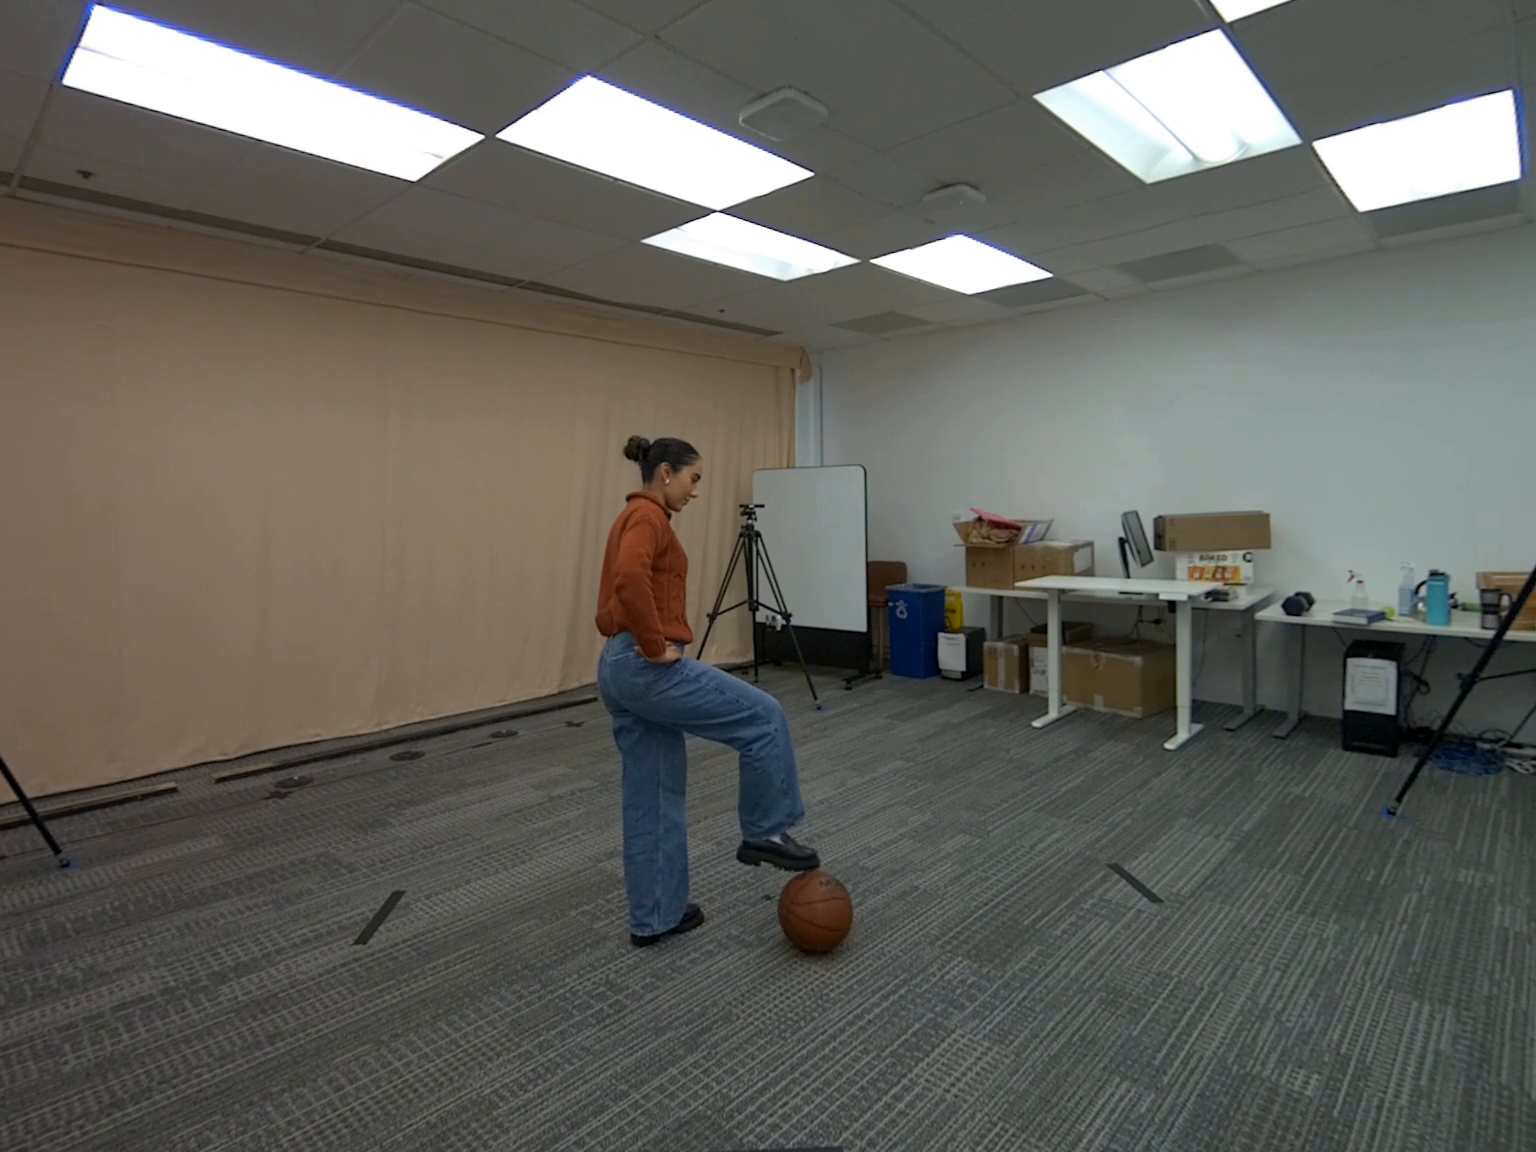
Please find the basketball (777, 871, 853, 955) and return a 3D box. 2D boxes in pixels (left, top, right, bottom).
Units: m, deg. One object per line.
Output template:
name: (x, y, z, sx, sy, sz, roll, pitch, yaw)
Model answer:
basketball: (0.152, 1.051, 2.630, 0.236, 0.235, 0.237, -1, 4, -2)
